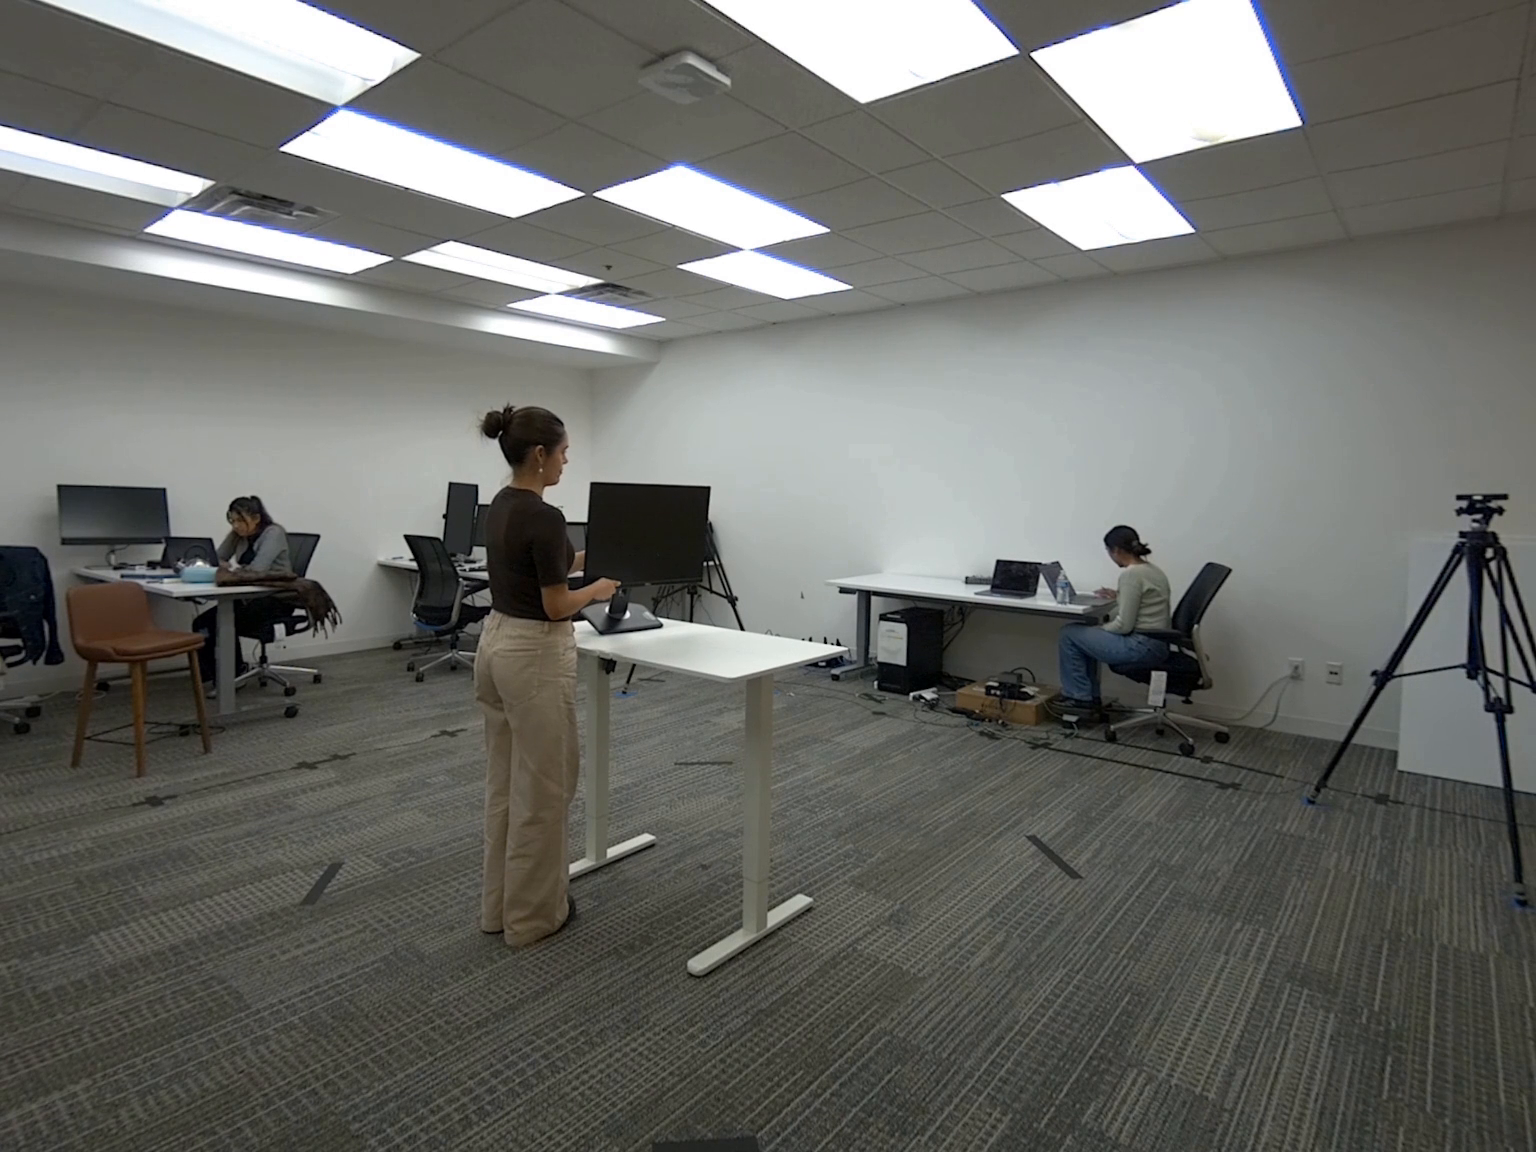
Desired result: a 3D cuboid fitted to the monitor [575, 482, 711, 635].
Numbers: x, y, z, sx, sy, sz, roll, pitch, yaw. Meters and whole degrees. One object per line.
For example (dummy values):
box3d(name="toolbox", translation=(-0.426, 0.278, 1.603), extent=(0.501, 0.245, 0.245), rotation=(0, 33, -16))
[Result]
box3d(name="monitor", translation=(-0.458, -0.071, 2.942), extent=(0.195, 0.517, 0.523), rotation=(29, 20, 37))
